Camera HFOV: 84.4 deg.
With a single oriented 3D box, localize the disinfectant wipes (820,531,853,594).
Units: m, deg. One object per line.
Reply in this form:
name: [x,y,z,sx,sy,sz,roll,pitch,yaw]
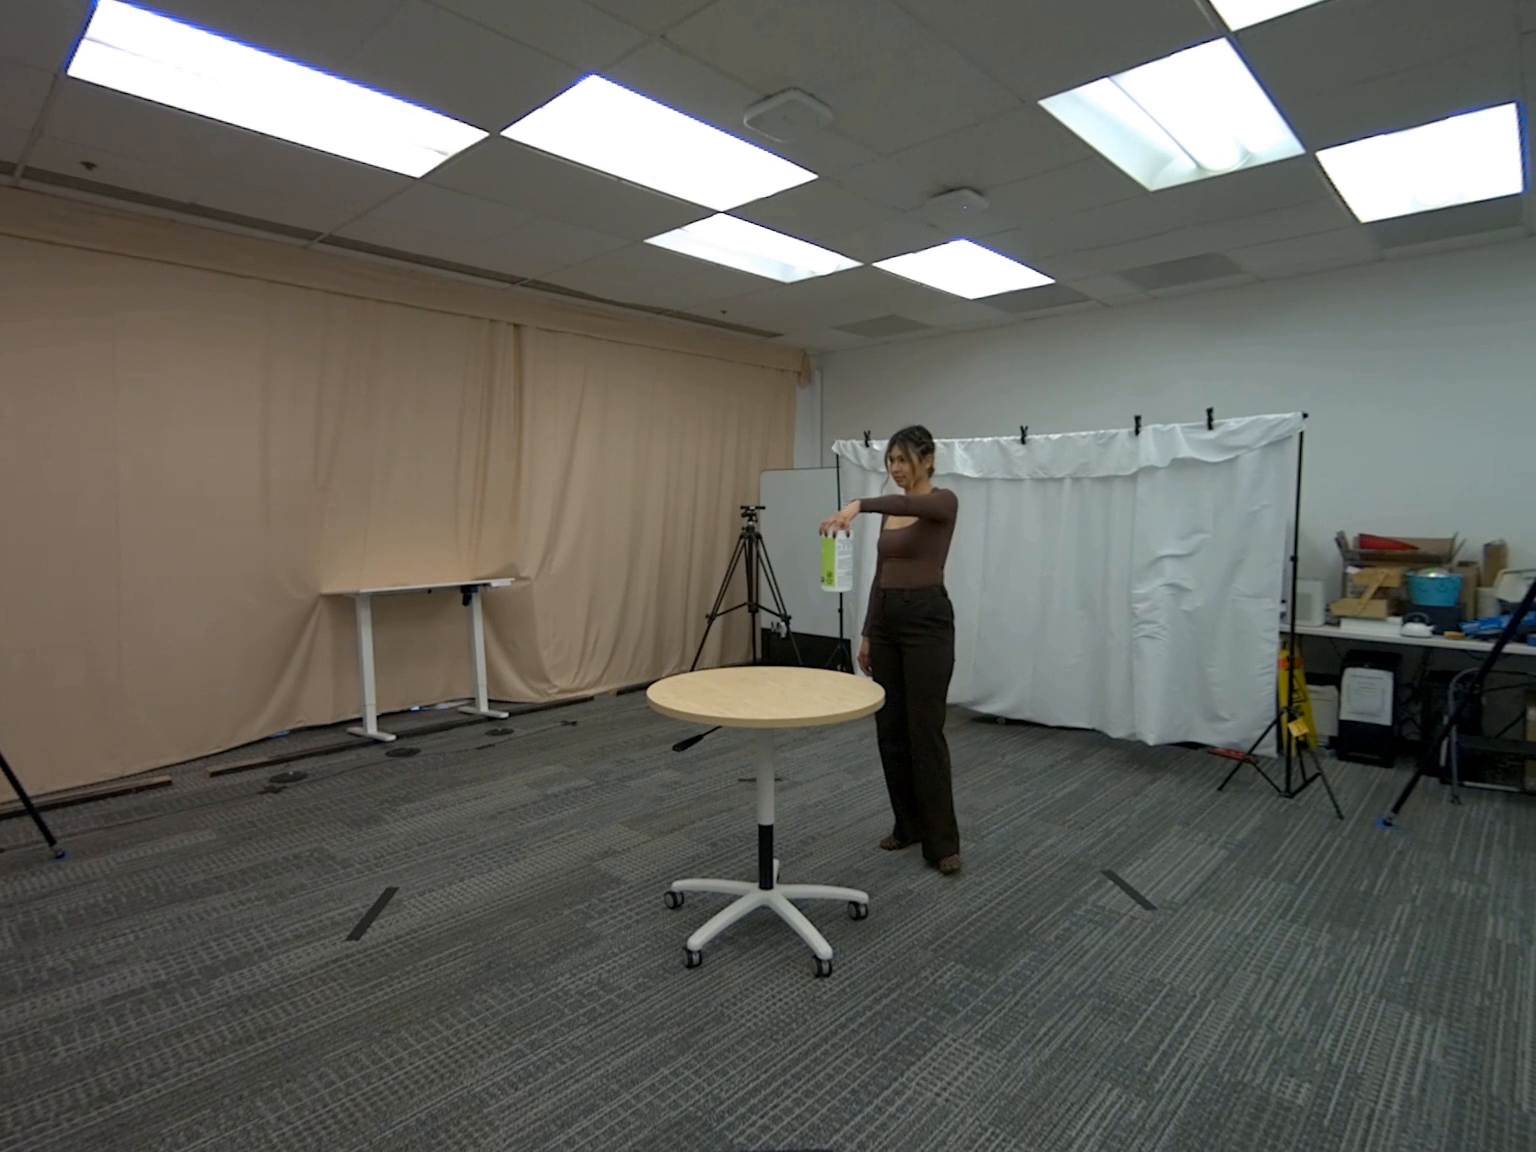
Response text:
disinfectant wipes: [0.241,-0.057,2.930,0.118,0.216,0.118,-1,7,-2]
